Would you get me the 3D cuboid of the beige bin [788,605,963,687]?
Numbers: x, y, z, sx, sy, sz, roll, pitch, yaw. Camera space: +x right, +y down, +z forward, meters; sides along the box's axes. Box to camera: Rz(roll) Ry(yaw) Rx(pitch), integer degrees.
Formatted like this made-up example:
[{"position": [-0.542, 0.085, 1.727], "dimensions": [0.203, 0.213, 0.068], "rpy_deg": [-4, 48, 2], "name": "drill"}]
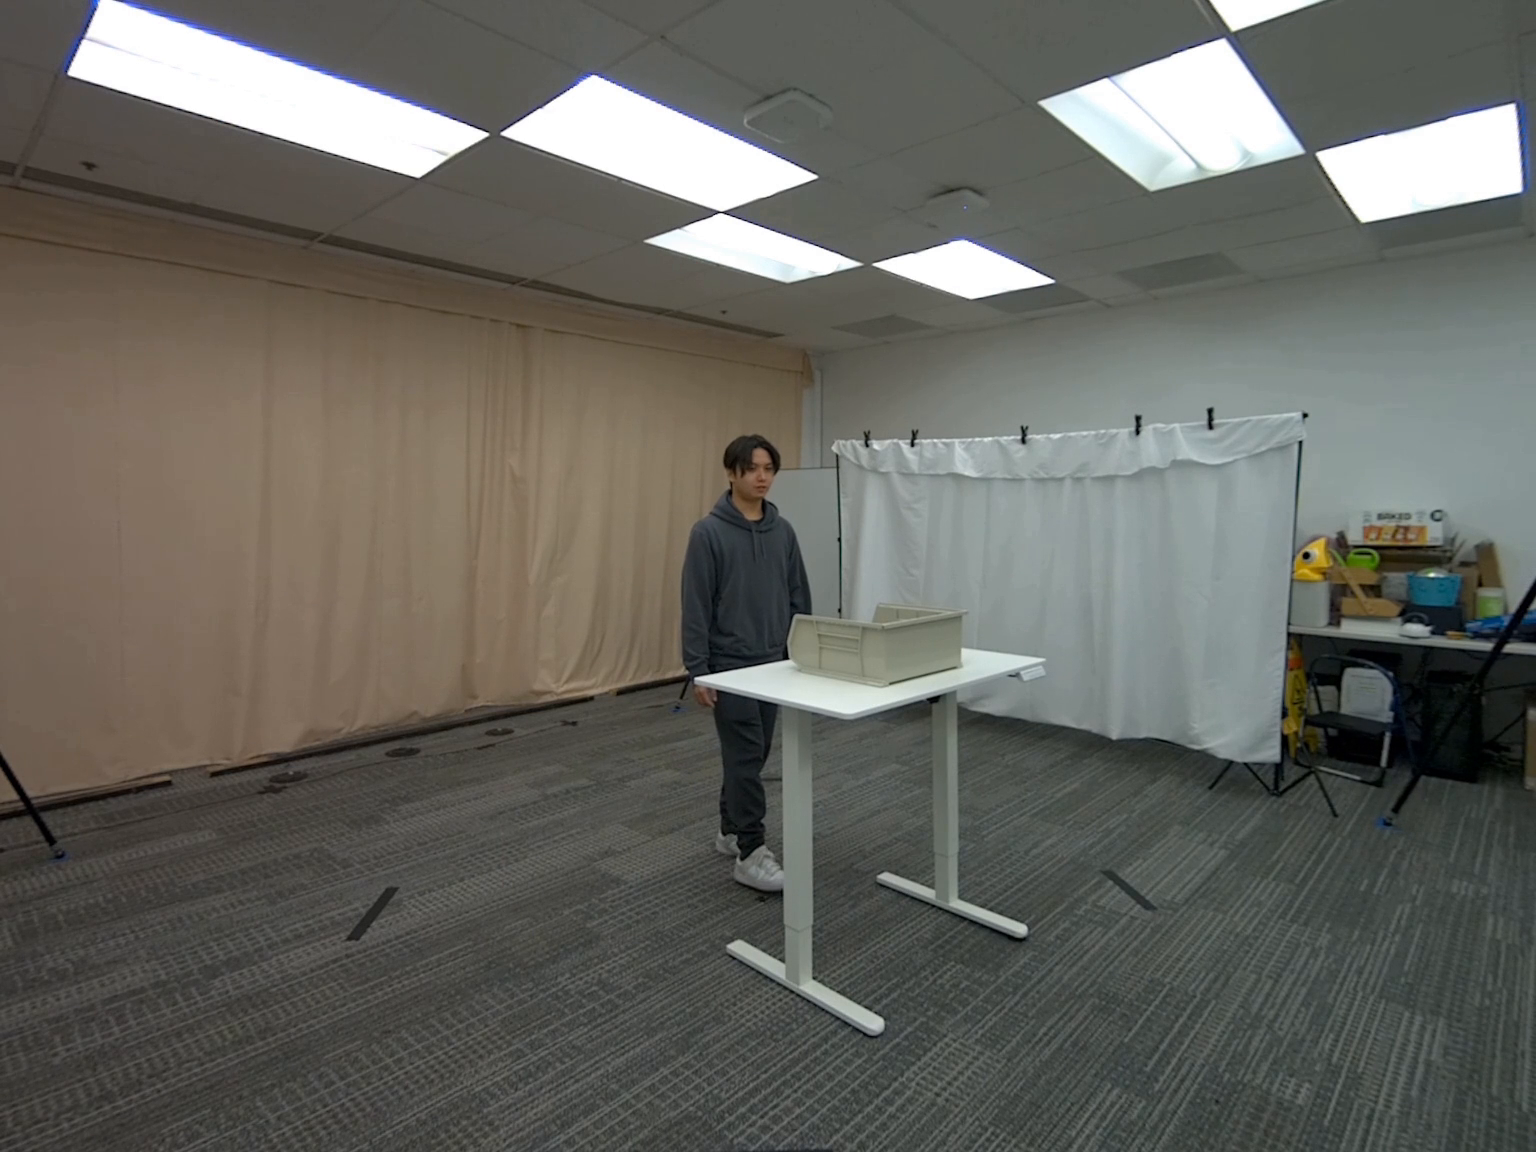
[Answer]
[{"position": [0.344, 0.204, 2.613], "dimensions": [0.409, 0.188, 0.390], "rpy_deg": [-5, 7, -43], "name": "beige bin"}]
